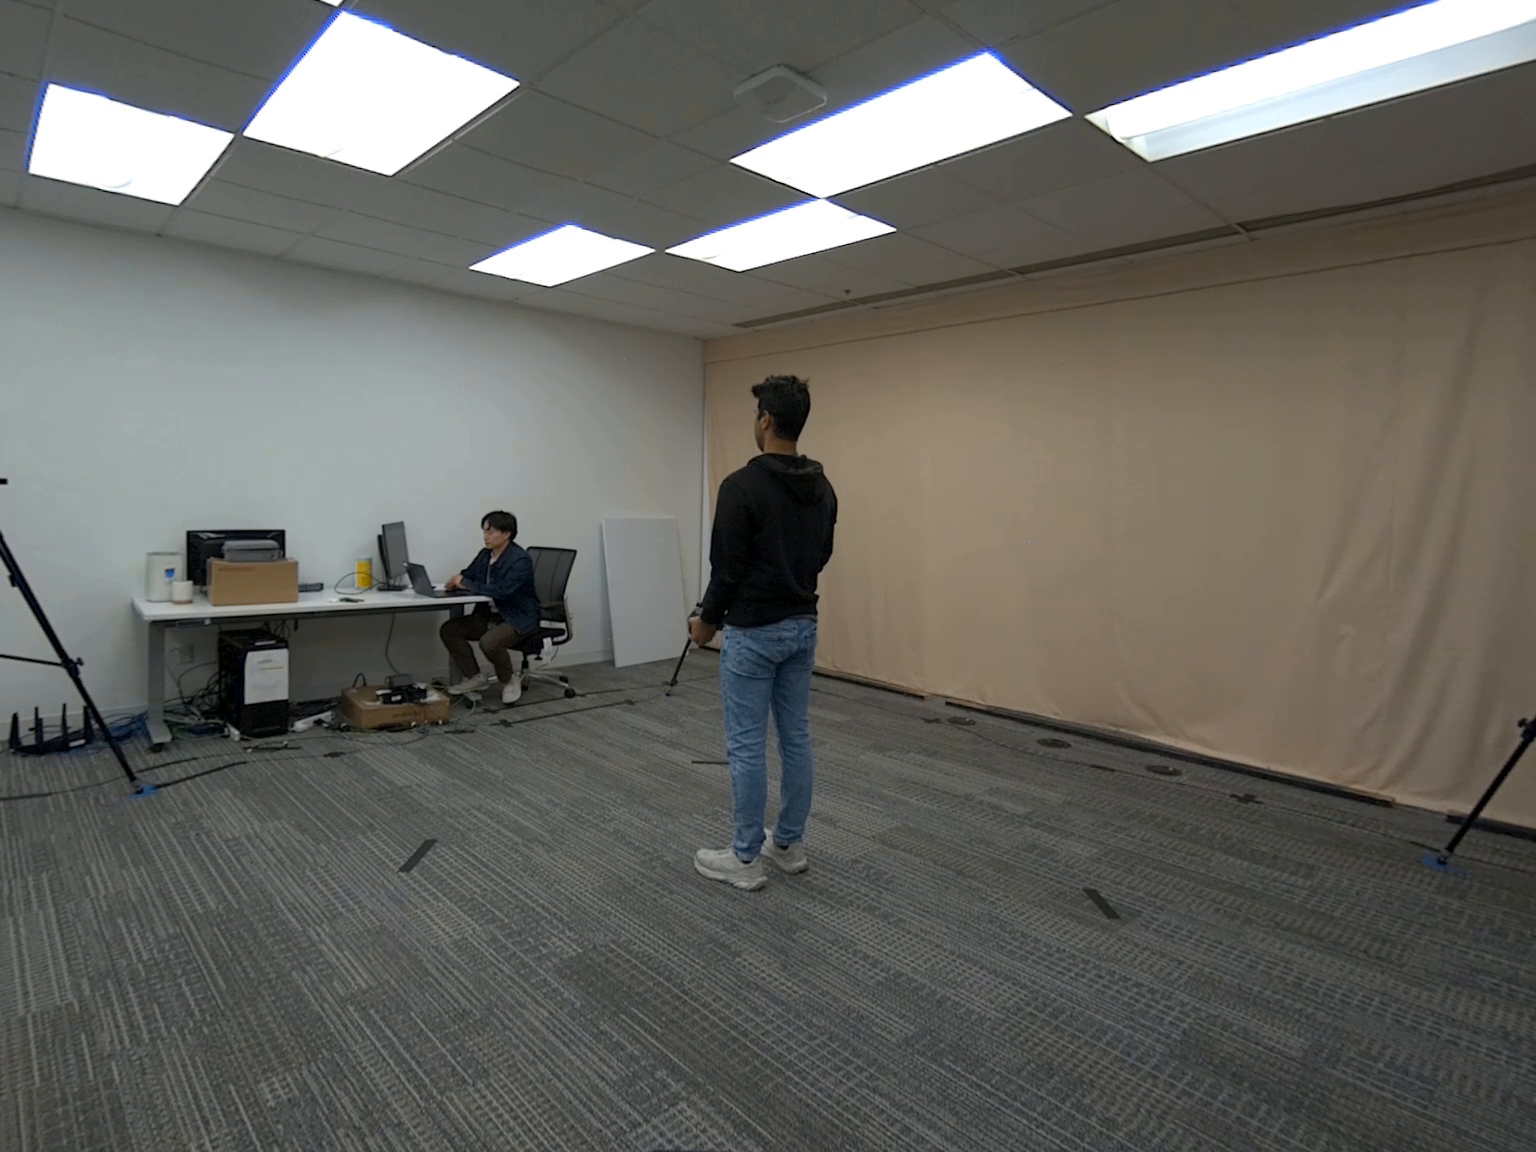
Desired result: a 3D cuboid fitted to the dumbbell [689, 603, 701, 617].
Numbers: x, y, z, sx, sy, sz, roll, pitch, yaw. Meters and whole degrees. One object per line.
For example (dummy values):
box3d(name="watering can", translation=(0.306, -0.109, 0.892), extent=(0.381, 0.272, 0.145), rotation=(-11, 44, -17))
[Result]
box3d(name="dumbbell", translation=(-0.164, 0.174, 3.279), extent=(0.286, 0.124, 0.110), rotation=(1, -11, -39))
